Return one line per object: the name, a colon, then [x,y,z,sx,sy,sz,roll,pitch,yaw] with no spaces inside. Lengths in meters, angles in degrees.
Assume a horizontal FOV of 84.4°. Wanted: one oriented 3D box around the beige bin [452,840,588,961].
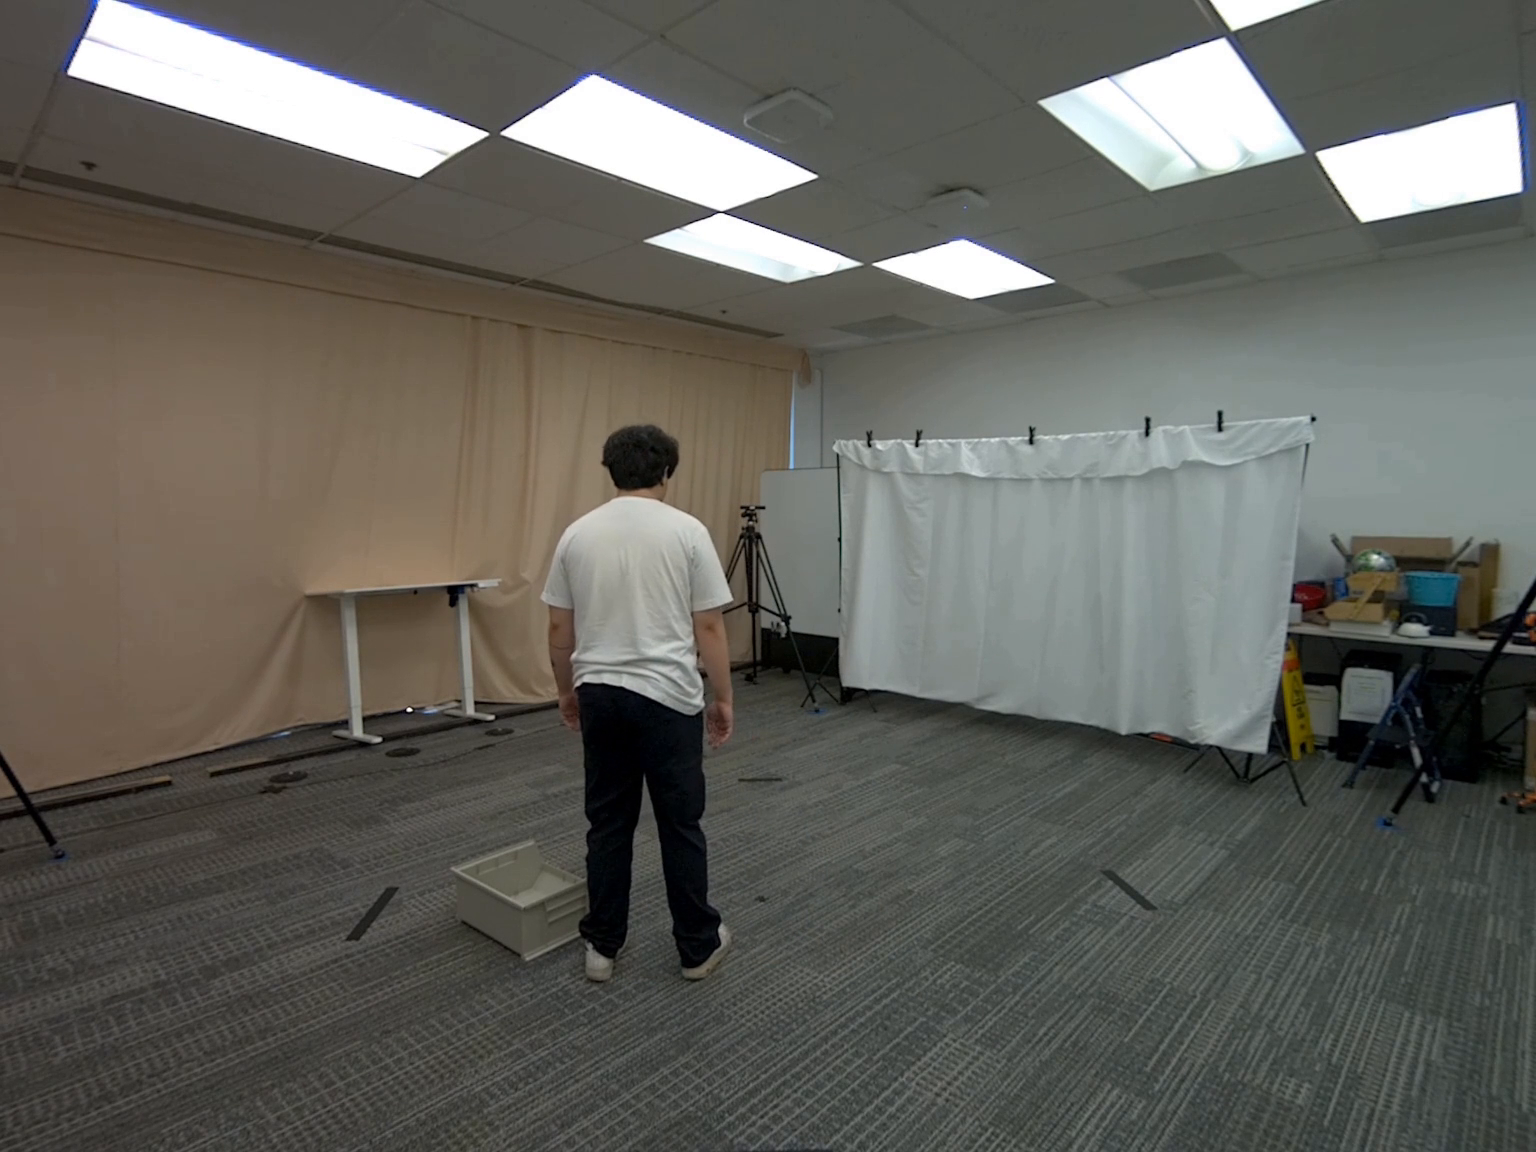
beige bin: [-0.794,1.076,2.839,0.436,0.188,0.366,4,7,40]
